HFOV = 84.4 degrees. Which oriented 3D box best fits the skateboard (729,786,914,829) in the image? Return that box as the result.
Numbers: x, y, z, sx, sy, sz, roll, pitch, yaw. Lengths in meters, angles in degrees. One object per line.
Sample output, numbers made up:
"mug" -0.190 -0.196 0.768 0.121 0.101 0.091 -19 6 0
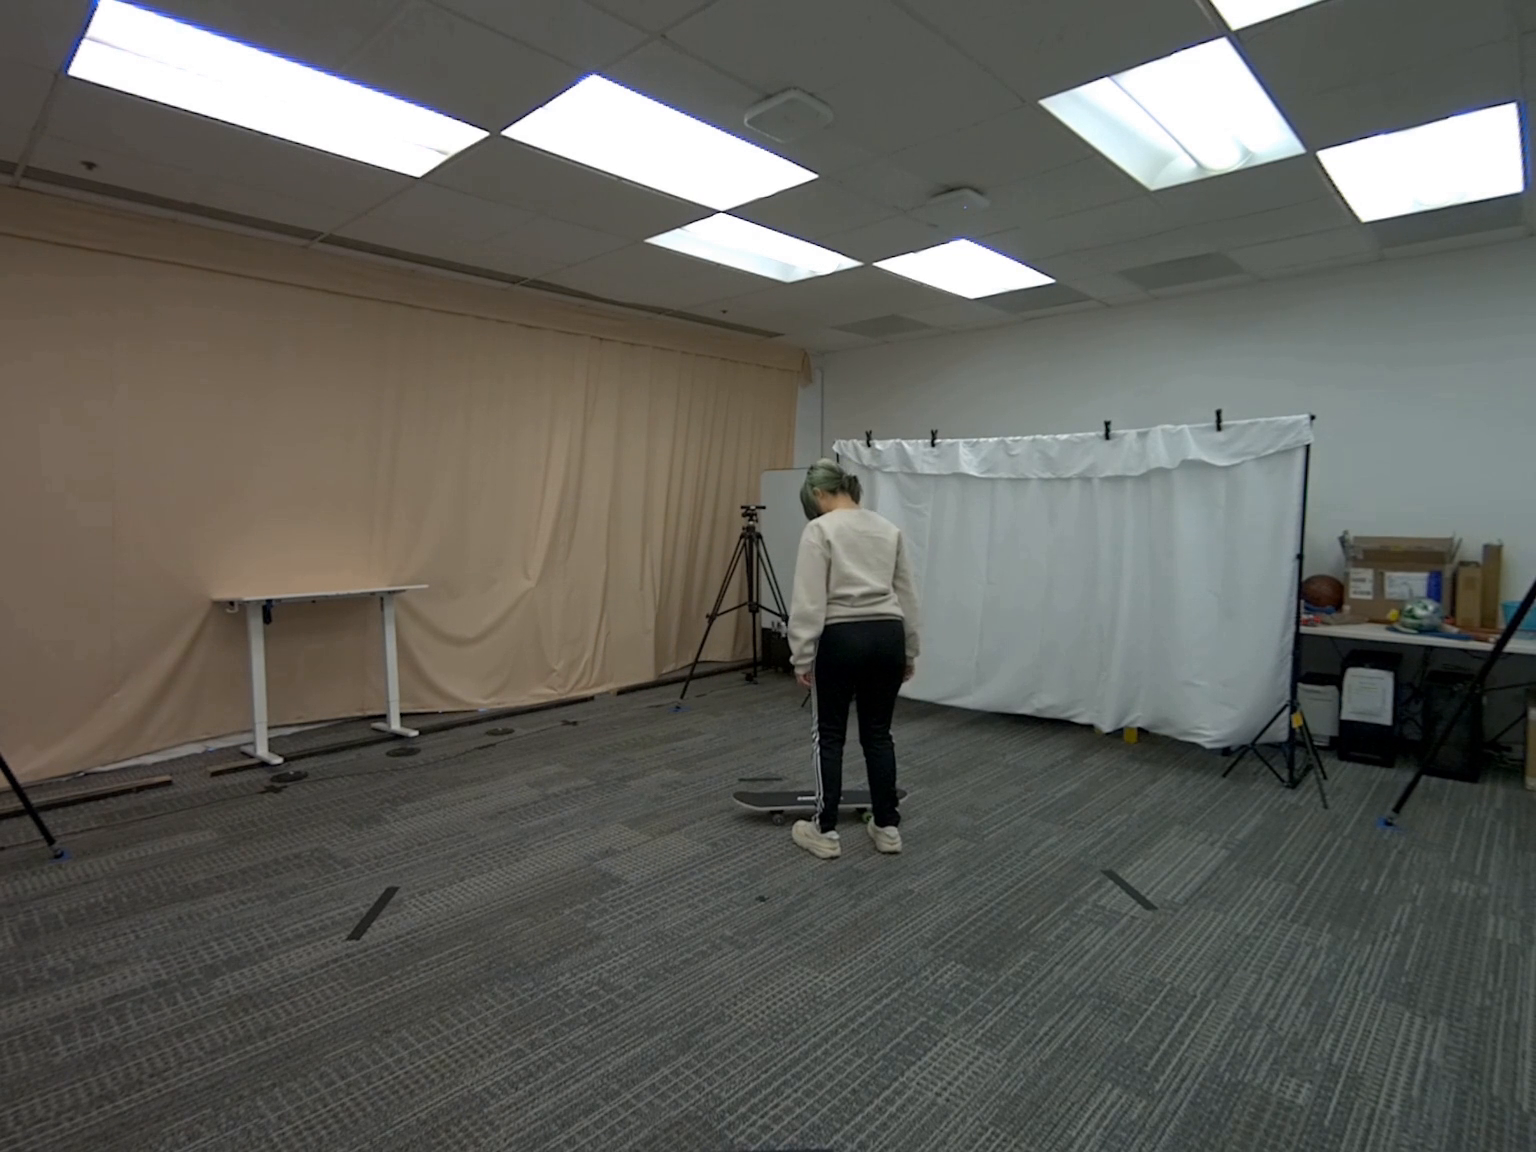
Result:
"skateboard" 0.227 1.019 3.754 0.782 0.110 0.194 0 2 -4
